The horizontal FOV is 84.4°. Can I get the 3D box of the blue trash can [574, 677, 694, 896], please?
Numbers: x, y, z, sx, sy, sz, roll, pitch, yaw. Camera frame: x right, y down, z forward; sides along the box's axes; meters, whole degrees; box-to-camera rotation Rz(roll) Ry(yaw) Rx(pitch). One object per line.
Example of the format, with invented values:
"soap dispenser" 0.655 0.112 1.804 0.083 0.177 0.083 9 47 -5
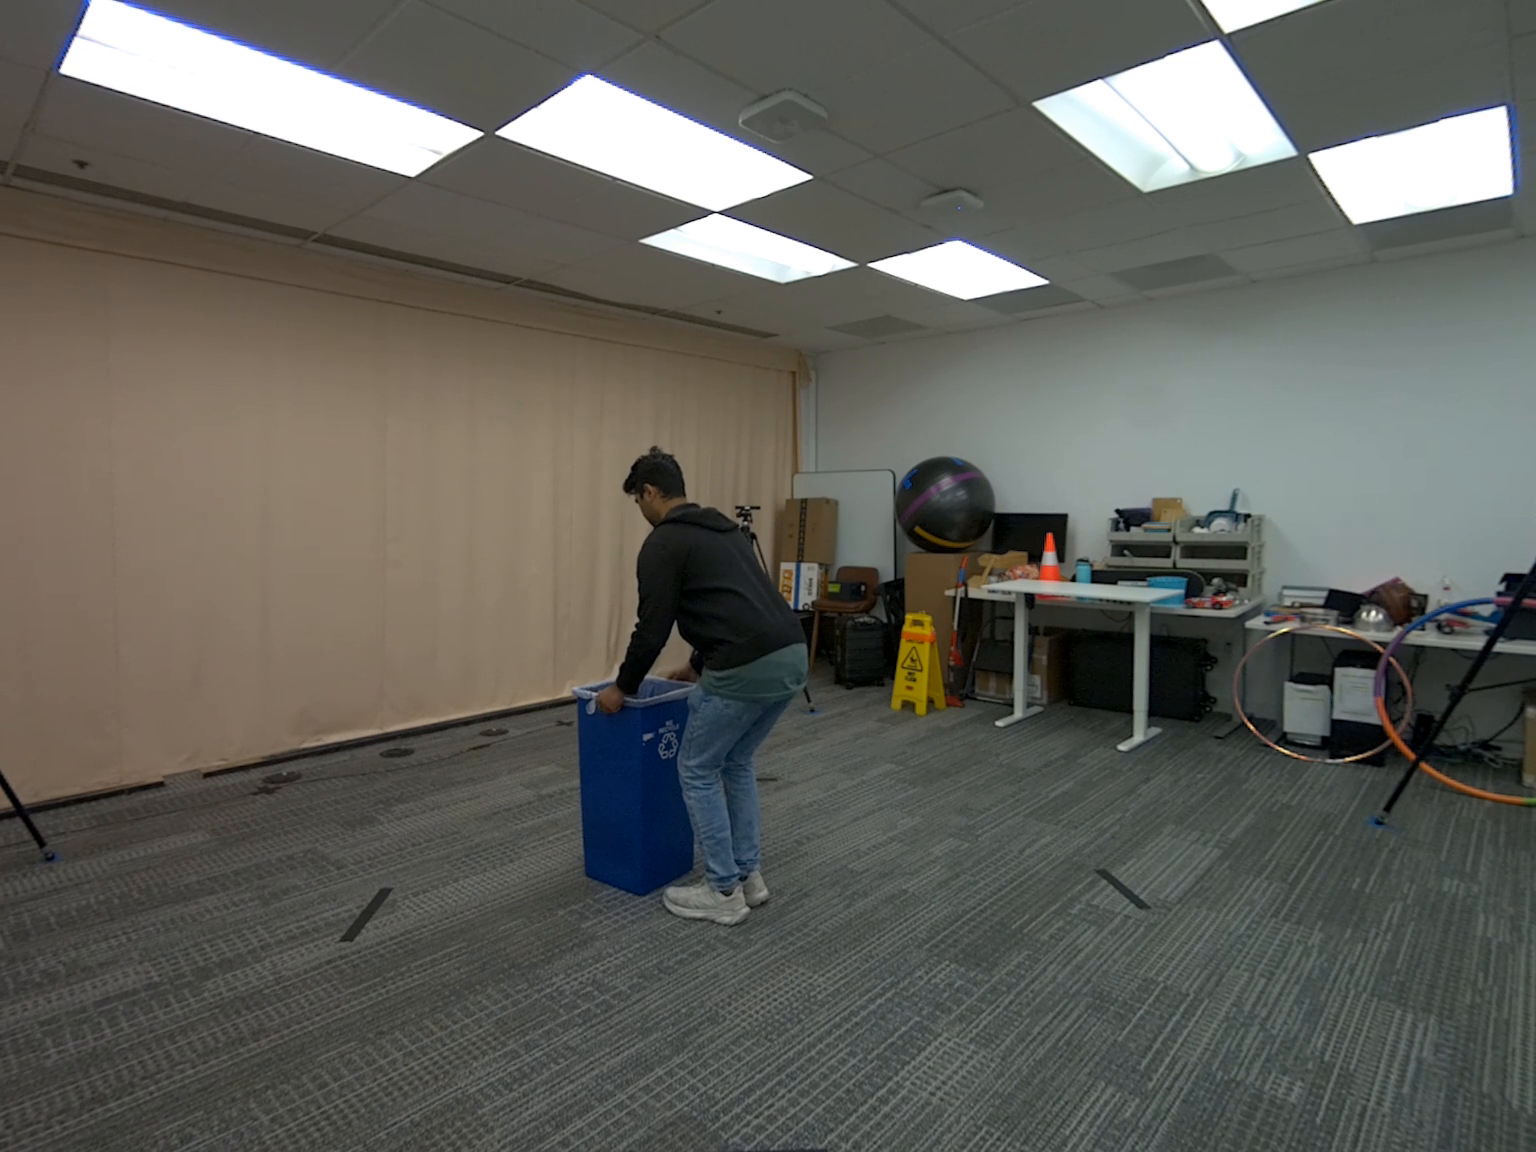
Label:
"blue trash can" -0.489 0.774 3.203 0.390 0.712 0.363 2 4 35
